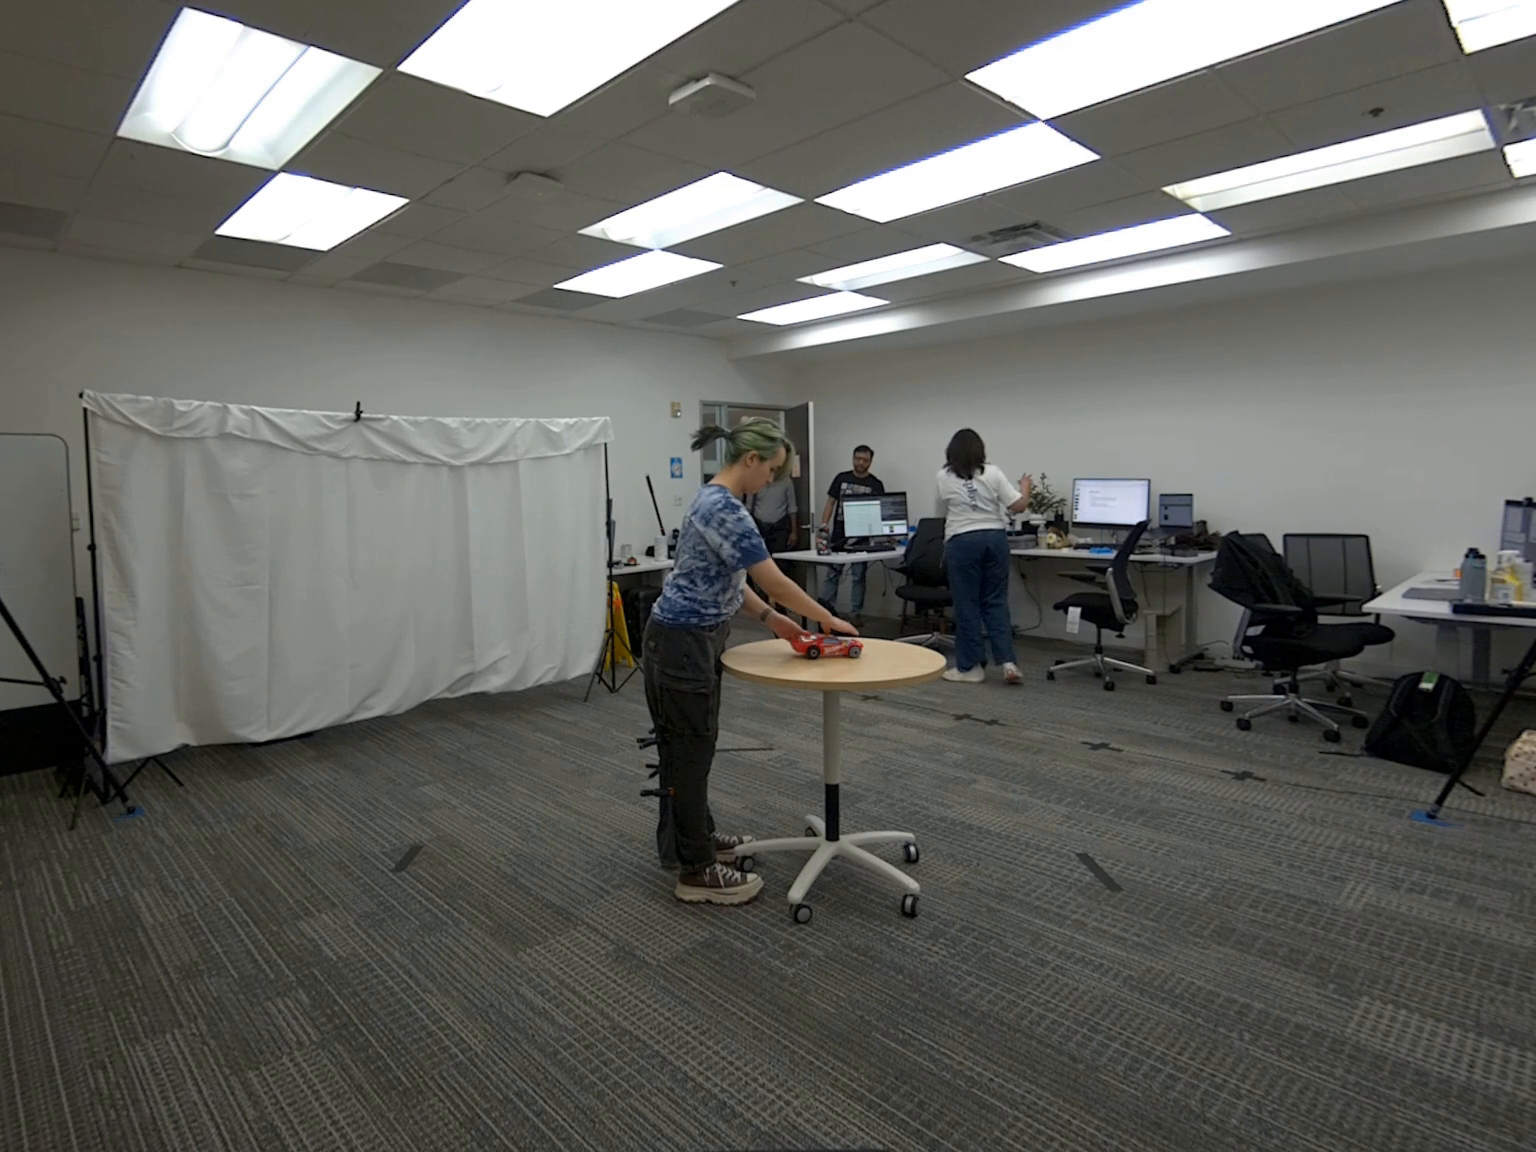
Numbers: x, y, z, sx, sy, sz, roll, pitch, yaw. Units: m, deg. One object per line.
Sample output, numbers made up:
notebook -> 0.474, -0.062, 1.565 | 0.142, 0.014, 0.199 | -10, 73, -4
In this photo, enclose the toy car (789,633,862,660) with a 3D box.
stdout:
toy car -> 0.194, 0.244, 2.942 | 0.252, 0.083, 0.131 | 10, 3, -8
